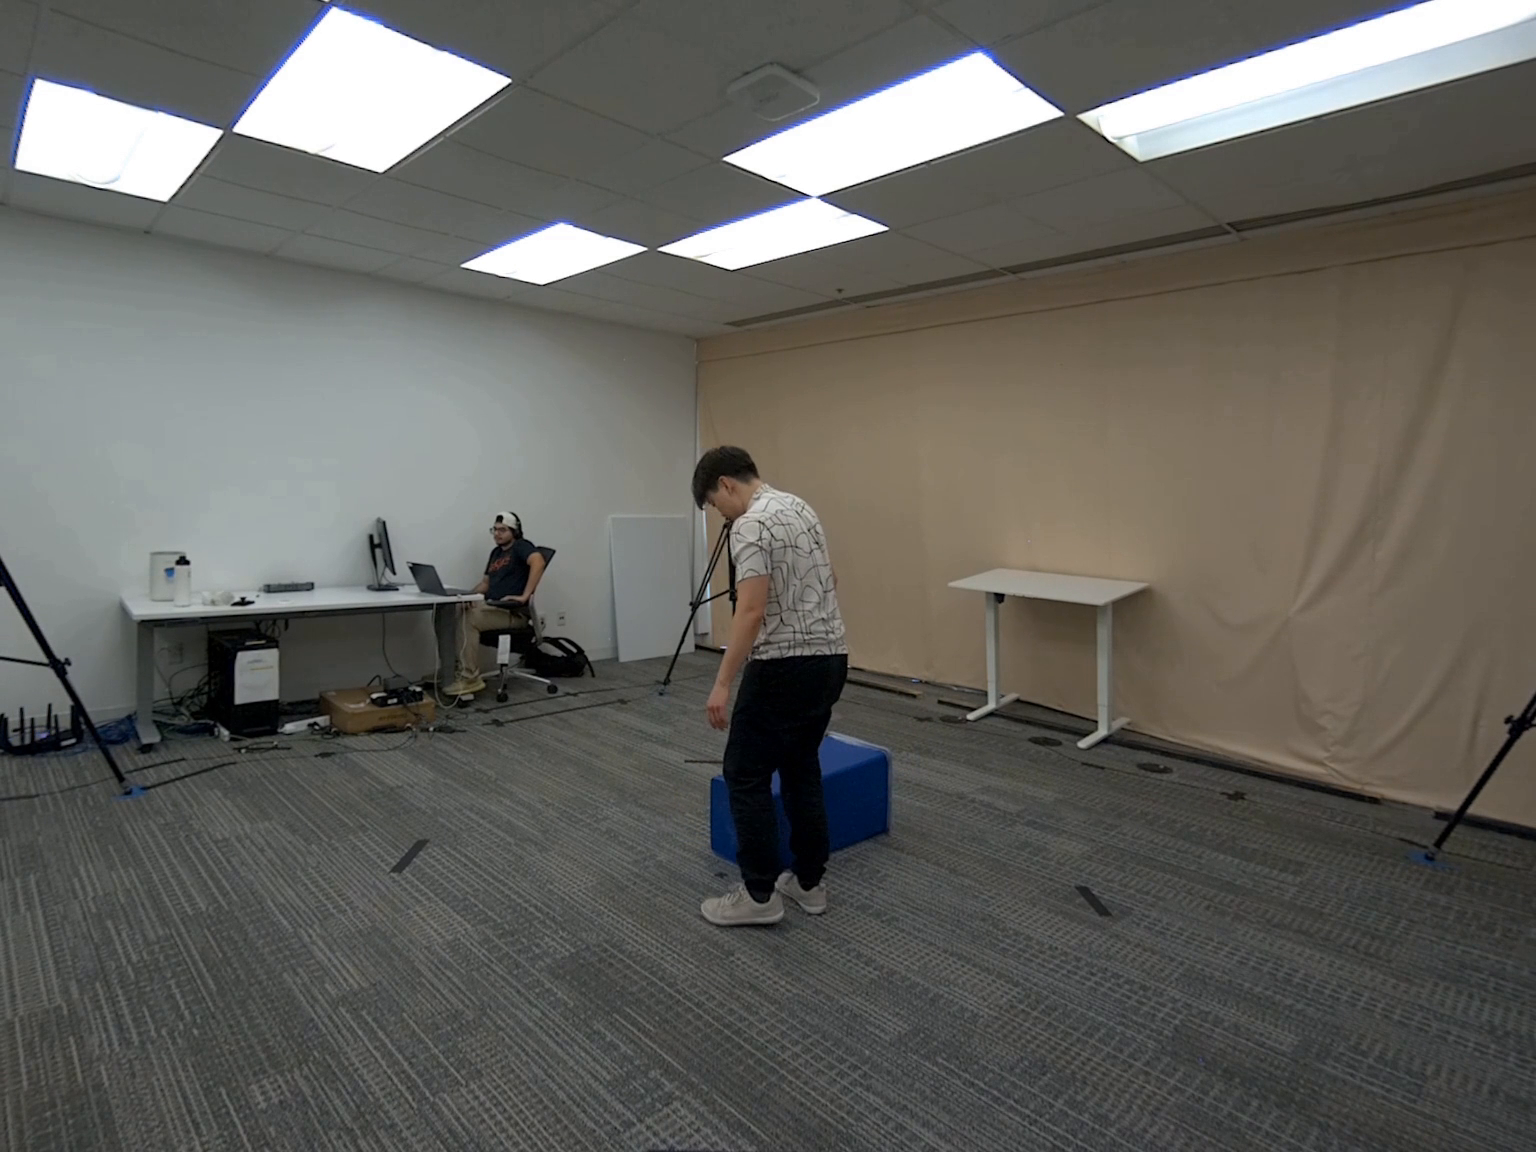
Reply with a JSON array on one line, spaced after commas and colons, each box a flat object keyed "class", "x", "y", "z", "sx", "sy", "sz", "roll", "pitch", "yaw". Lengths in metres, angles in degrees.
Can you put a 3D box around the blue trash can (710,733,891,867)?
[{"class": "blue trash can", "x": 0.123, "y": 0.911, "z": 3.410, "sx": 0.698, "sy": 0.377, "sz": 0.384, "roll": -5, "pitch": 7, "yaw": -42}]
